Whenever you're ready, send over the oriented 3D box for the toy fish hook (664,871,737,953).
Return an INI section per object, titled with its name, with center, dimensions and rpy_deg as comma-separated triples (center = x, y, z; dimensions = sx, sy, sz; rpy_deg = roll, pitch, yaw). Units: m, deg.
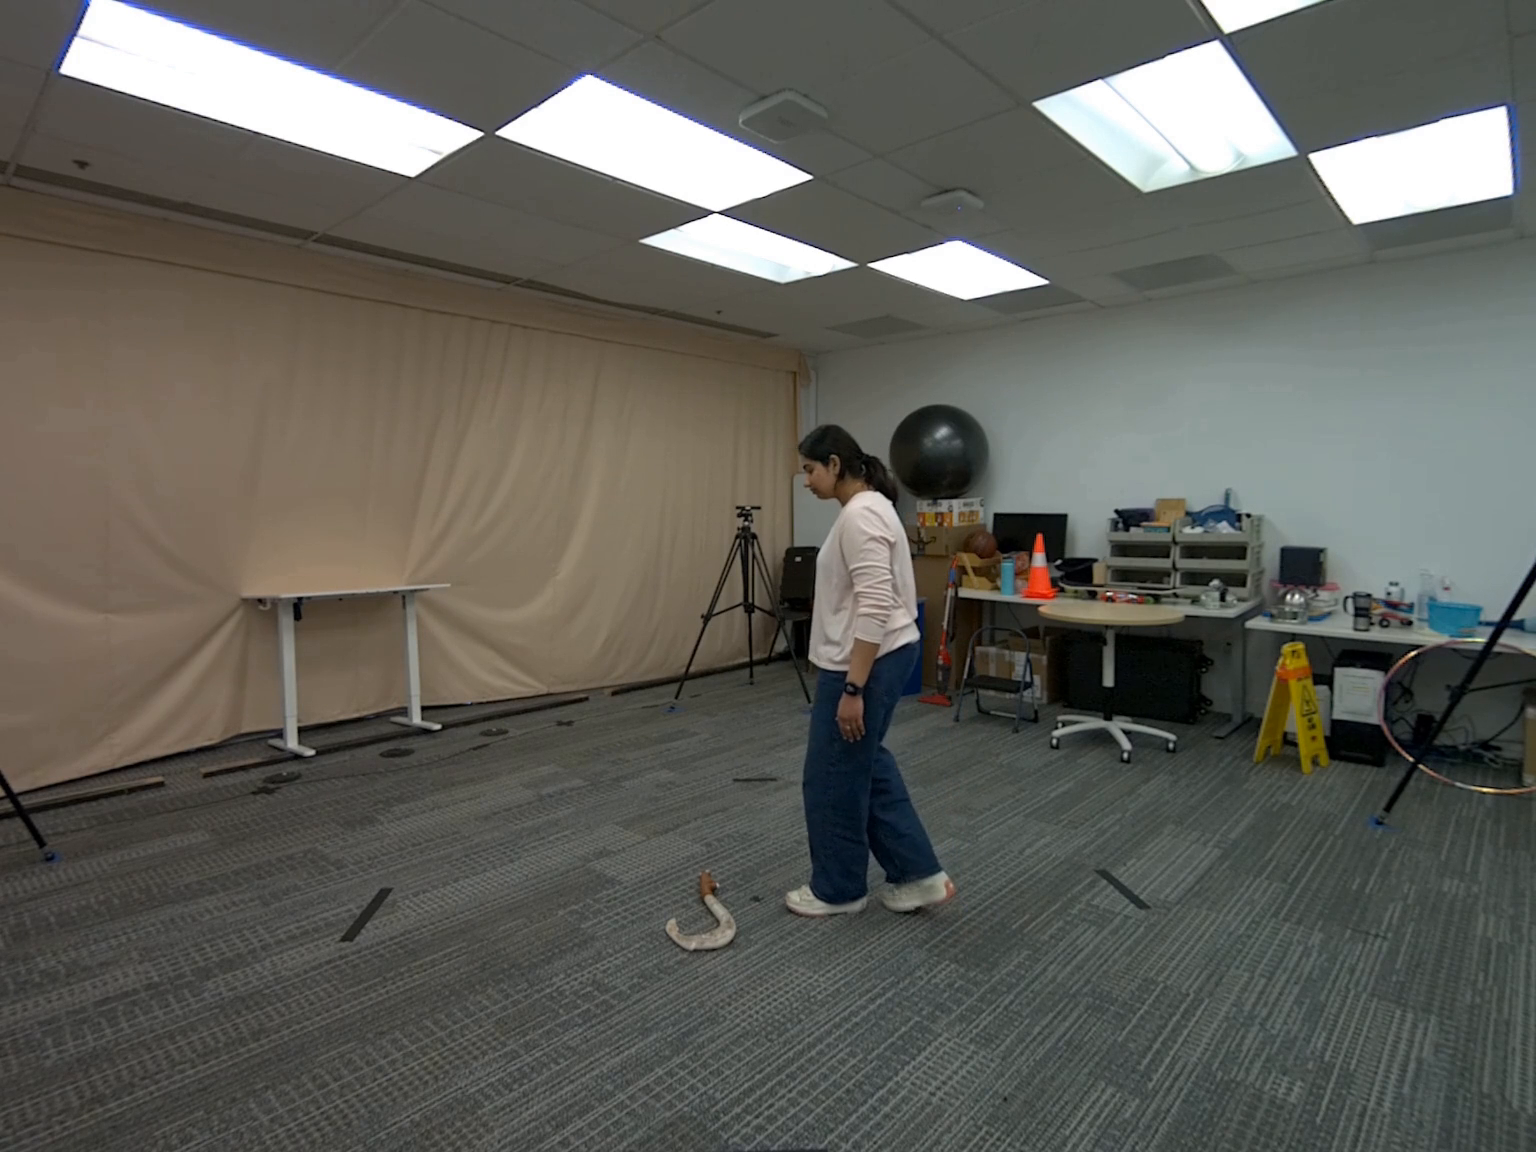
[toy fish hook]
center = -0.239, 1.130, 2.873
dimensions = 0.222, 0.048, 0.513
rpy_deg = 0, 4, -11
